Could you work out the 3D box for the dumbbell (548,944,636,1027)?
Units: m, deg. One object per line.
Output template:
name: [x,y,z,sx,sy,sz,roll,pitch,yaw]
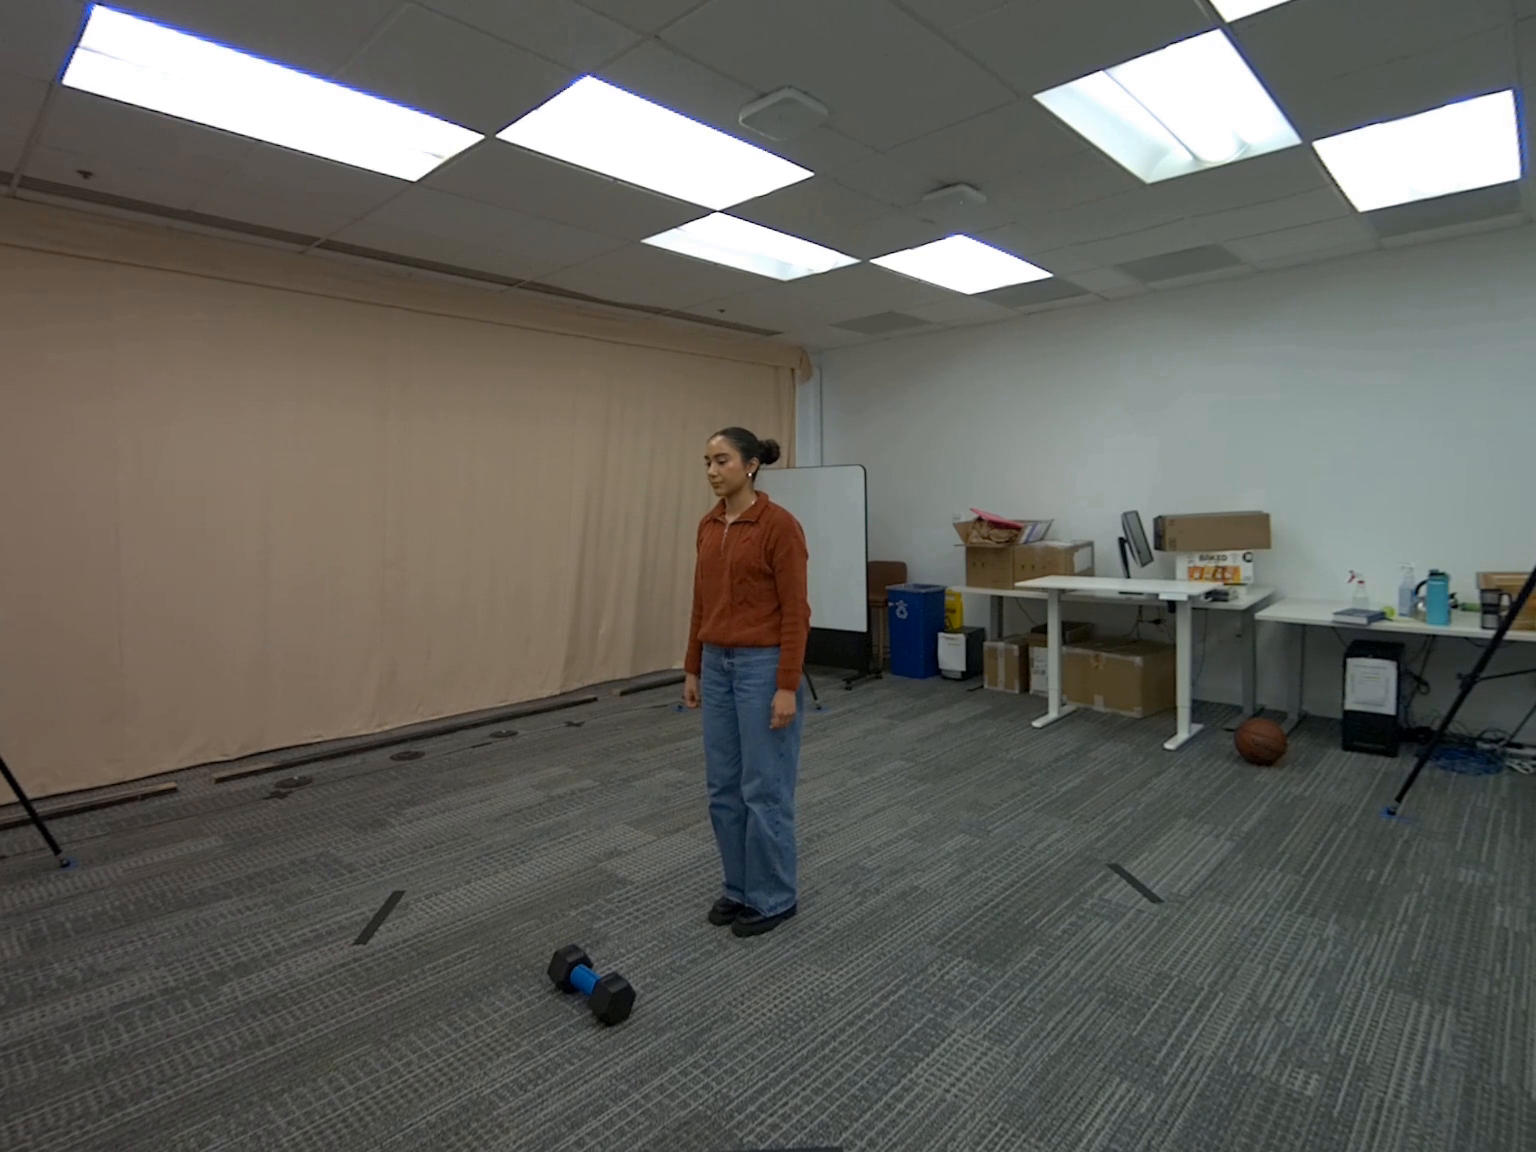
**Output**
dumbbell: [-0.502,1.152,2.367,0.303,0.123,0.105,4,-24,46]
